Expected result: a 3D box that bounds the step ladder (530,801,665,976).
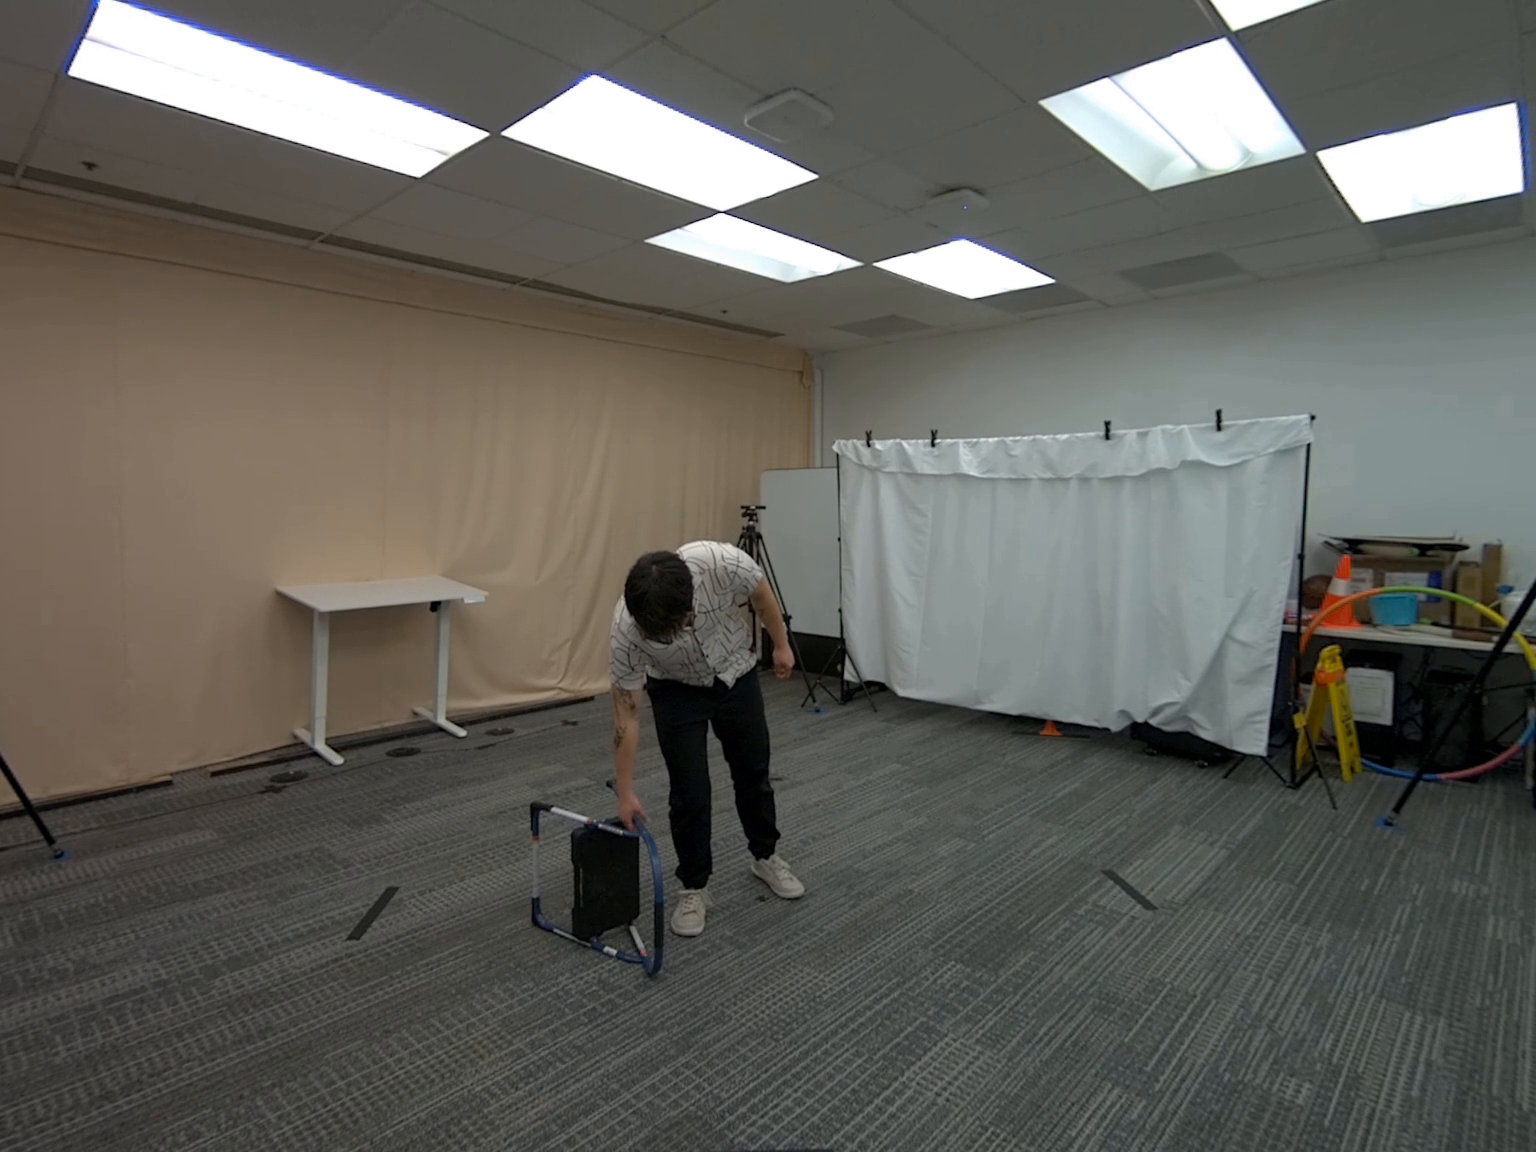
[{"bbox_3d":[-0.457,0.964,2.673,0.339,0.429,0.626,-4,6,-42],"label":"step ladder"}]
